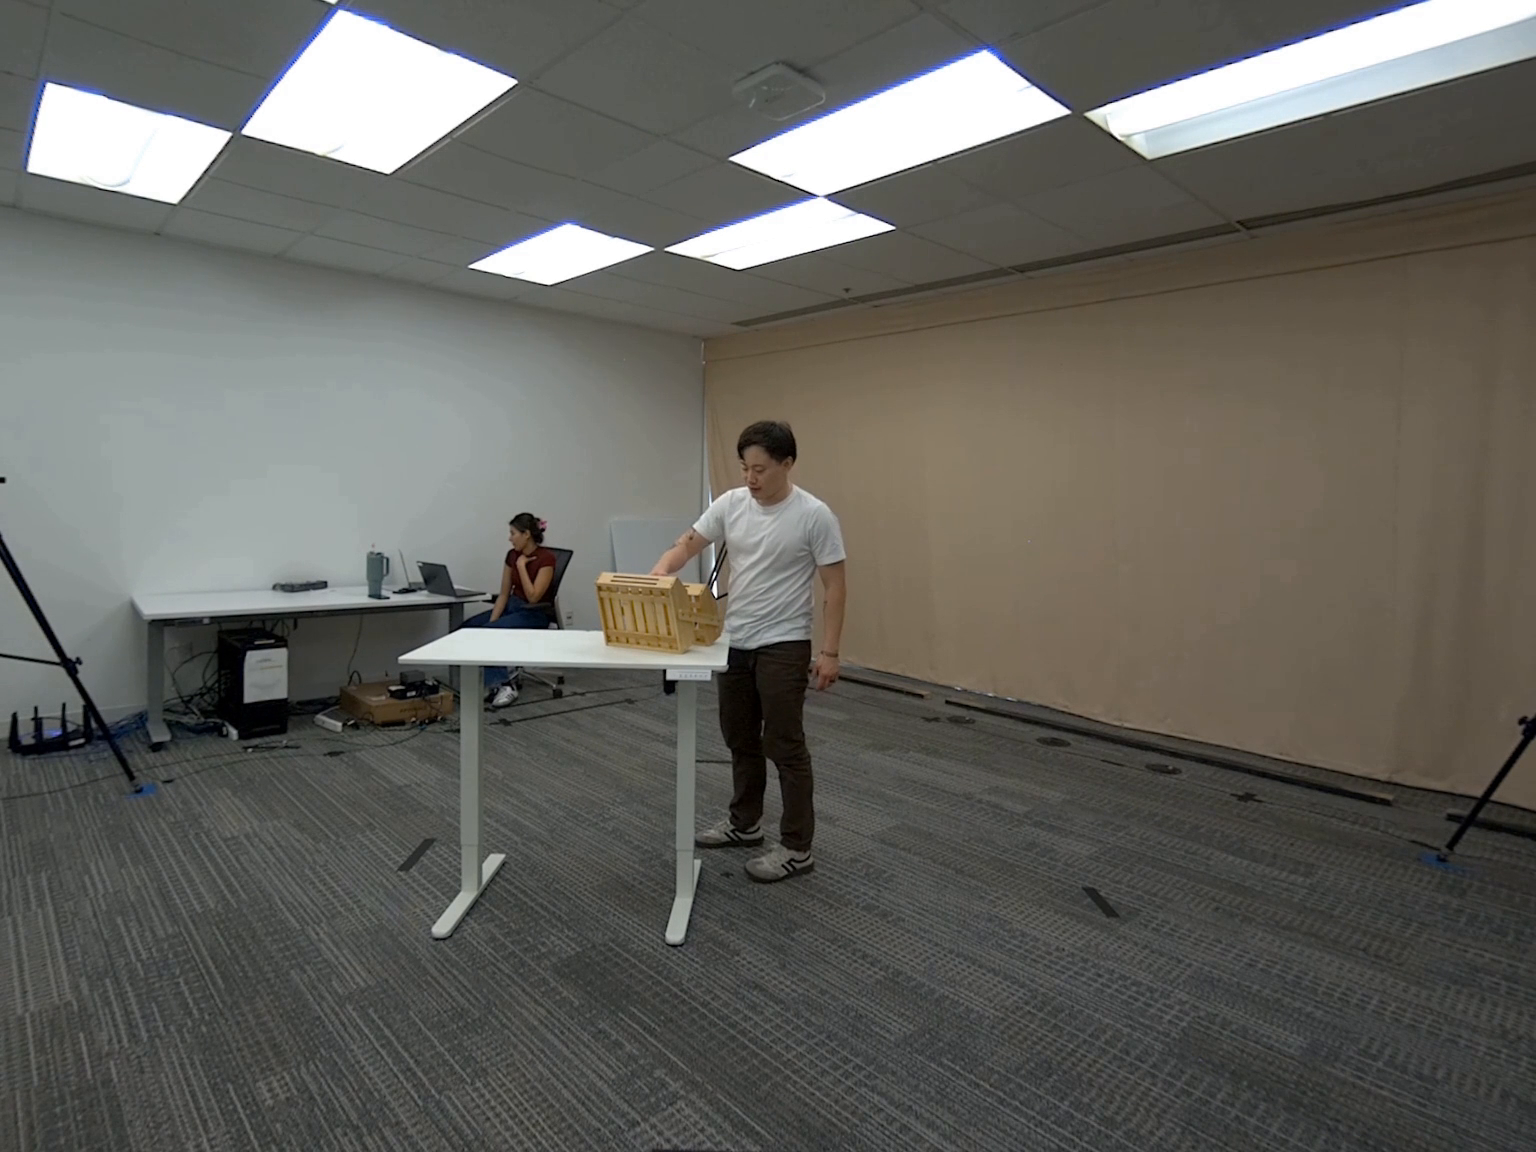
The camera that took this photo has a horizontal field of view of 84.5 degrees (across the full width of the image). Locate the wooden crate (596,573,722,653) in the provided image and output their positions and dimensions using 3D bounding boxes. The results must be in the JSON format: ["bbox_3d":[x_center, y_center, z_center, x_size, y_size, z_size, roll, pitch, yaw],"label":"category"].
[{"bbox_3d":[-0.377,0.105,2.847,0.331,0.297,0.272,3,22,27],"label":"wooden crate"}]
